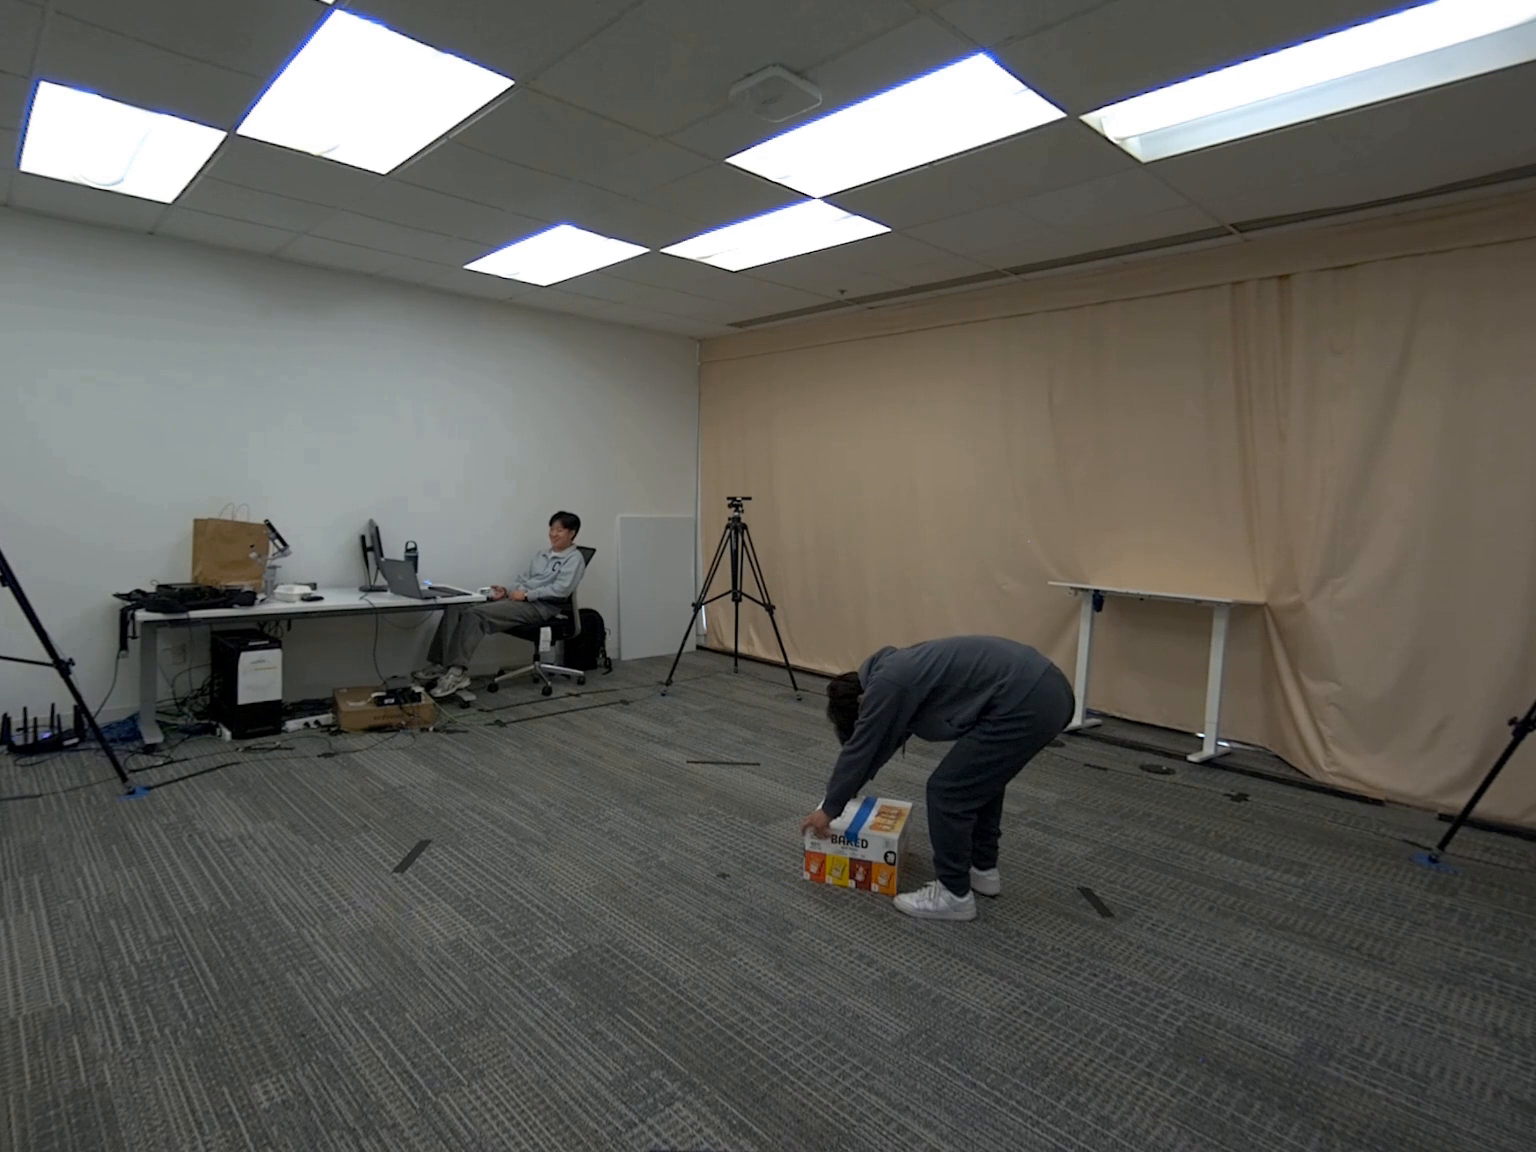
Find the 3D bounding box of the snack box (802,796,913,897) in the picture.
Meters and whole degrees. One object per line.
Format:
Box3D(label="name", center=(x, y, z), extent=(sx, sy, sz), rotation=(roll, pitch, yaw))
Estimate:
Box3D(label="snack box", center=(0.348, 1.008, 3.215), extent=(0.345, 0.205, 0.400), rotation=(3, 4, 18))
